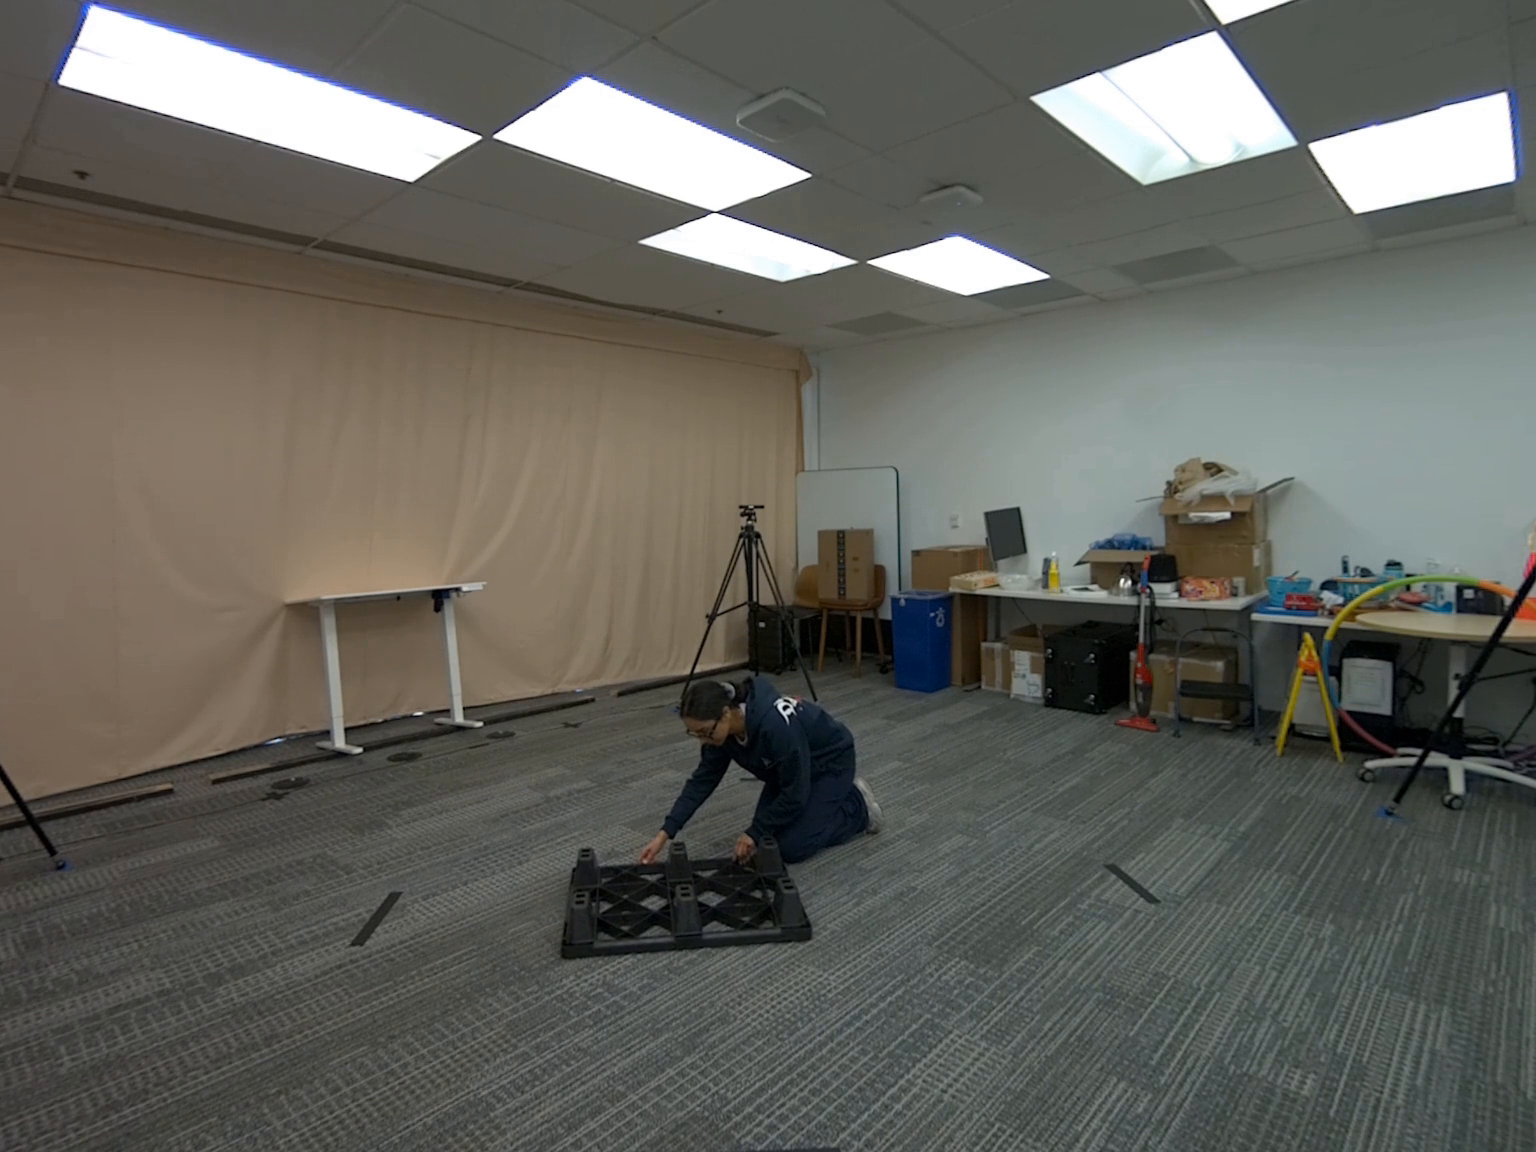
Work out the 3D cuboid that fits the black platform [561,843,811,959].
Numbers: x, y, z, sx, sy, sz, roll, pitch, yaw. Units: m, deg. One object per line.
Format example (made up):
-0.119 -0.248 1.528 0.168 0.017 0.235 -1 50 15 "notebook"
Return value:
-0.302 1.084 2.942 0.799 0.143 0.611 -2 5 -8 "black platform"
